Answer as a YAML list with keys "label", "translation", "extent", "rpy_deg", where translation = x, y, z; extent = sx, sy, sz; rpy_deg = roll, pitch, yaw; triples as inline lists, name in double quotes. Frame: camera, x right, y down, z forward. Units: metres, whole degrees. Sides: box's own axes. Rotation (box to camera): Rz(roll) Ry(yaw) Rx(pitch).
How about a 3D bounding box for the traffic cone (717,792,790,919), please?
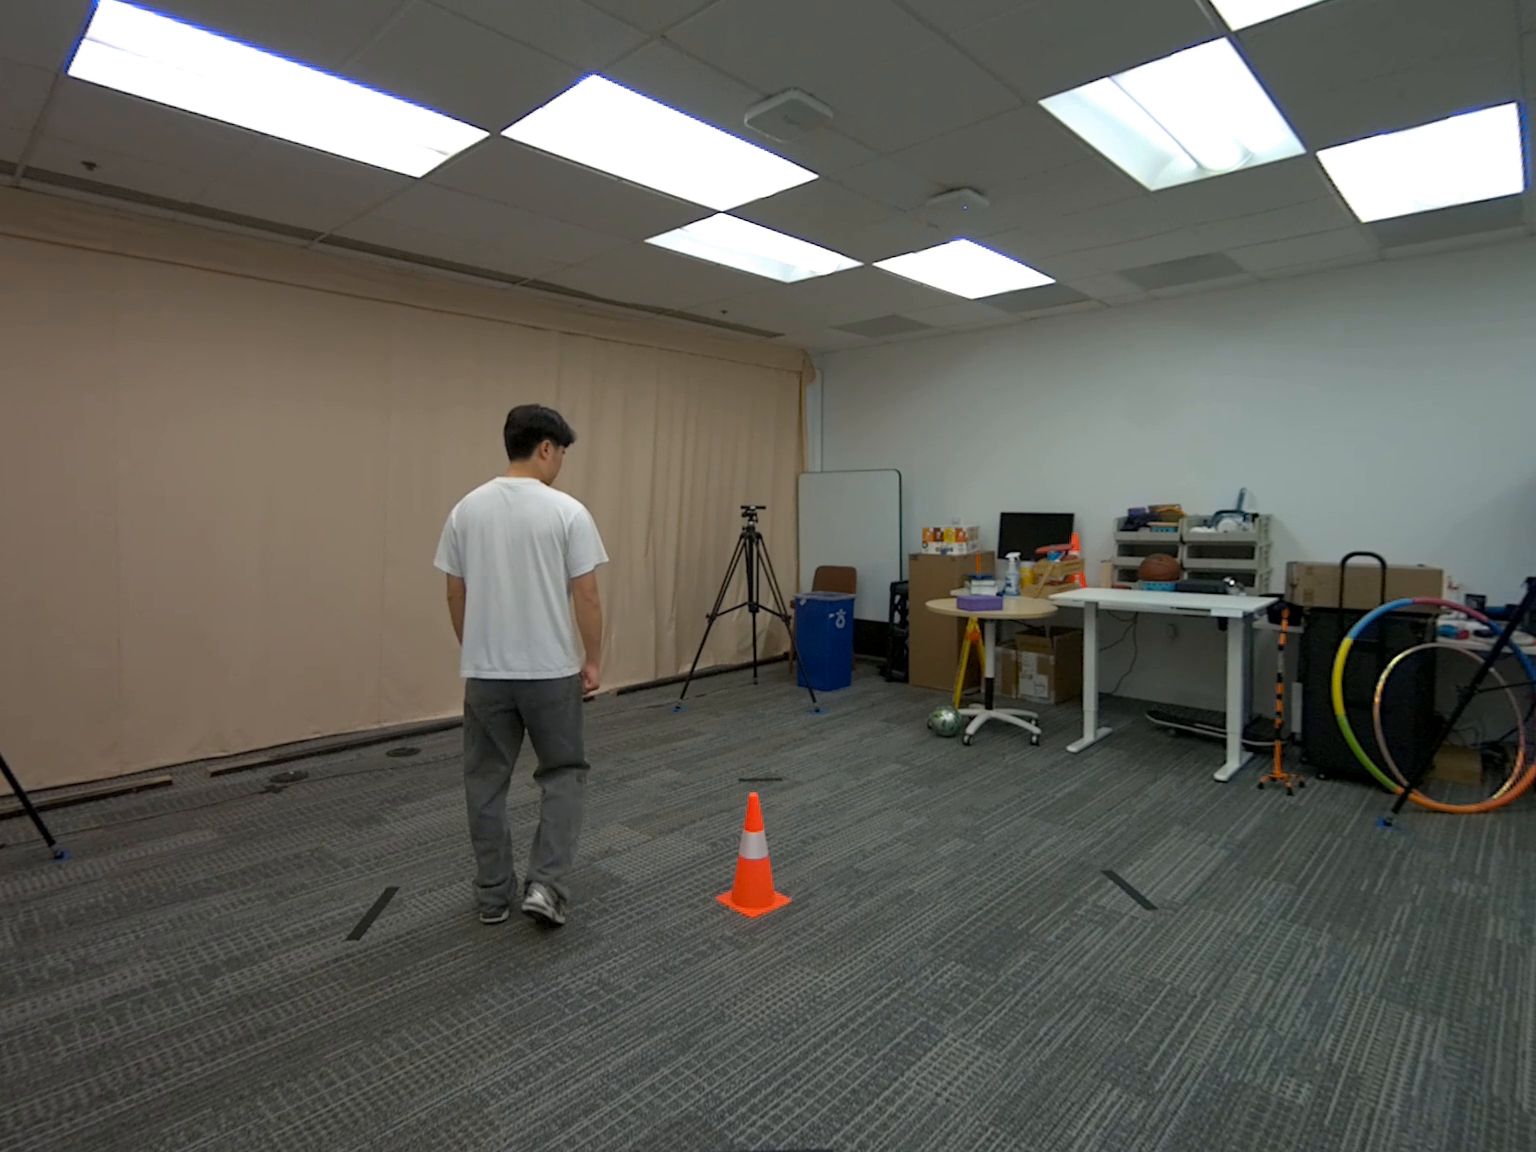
- label: "traffic cone"
  translation: [-0.039, 0.963, 2.958]
  extent: [0.198, 0.383, 0.210]
  rpy_deg: [-2, 5, -44]
